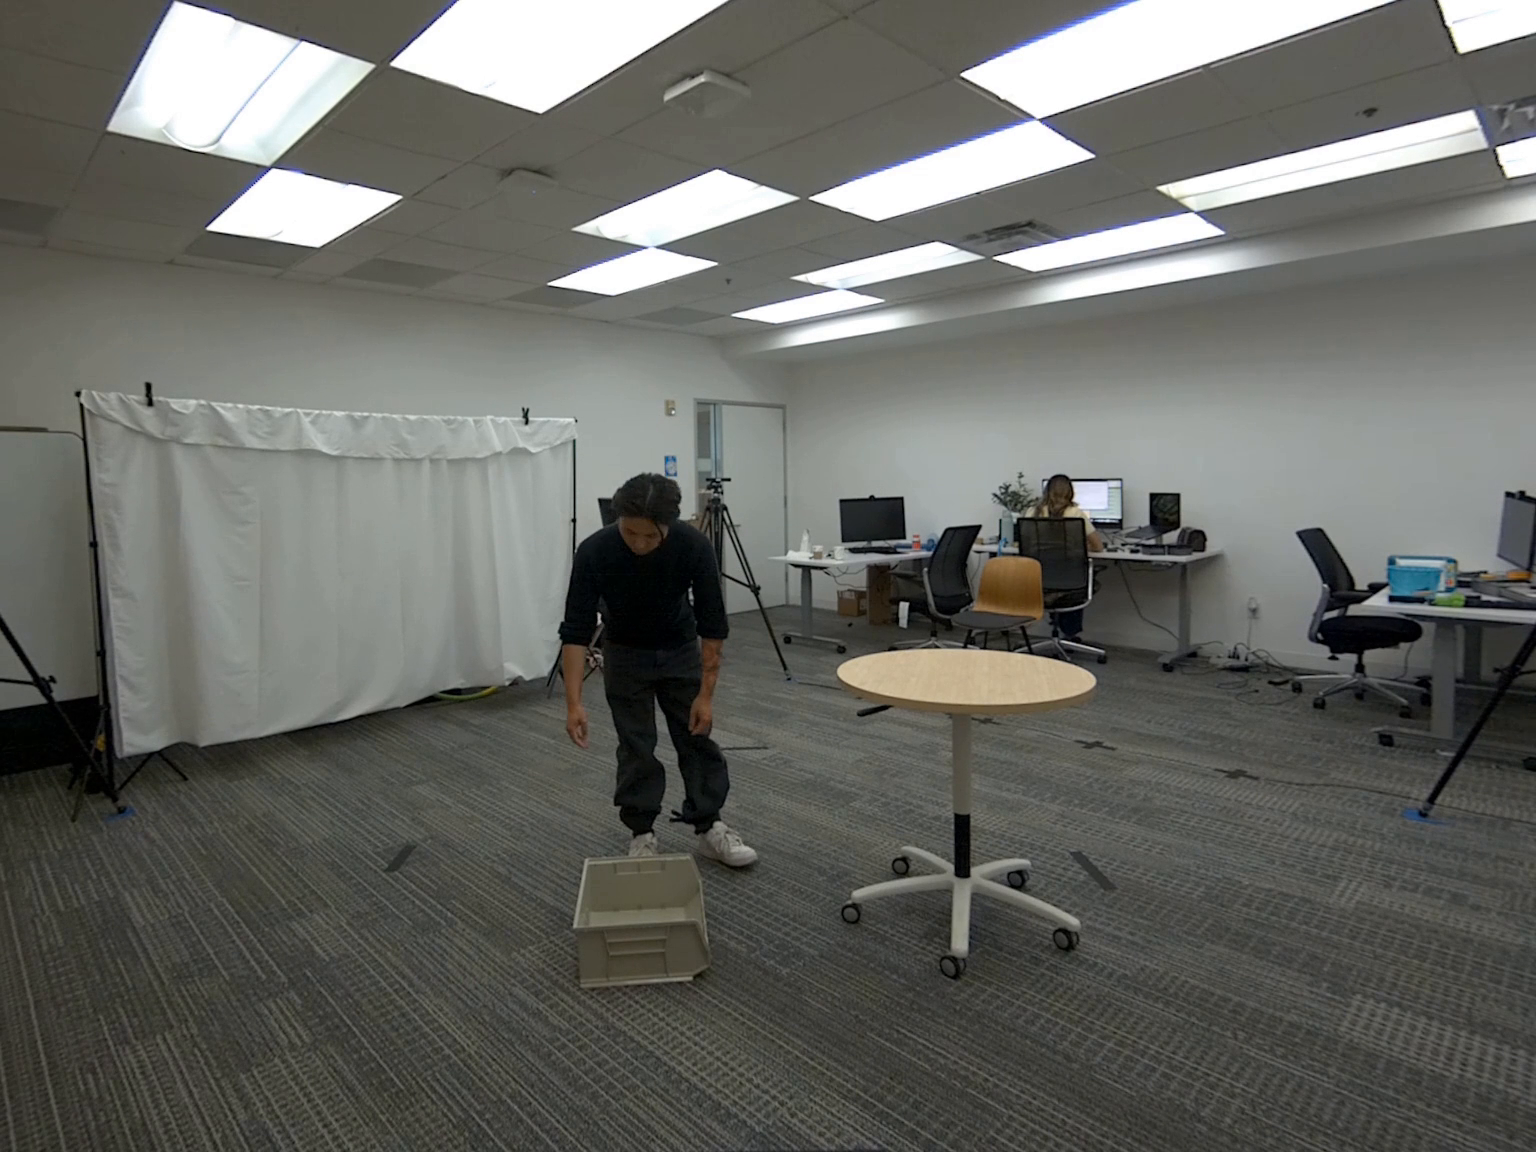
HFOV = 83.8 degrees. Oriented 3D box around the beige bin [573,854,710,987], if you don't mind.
[{"bbox_3d":[-0.376,1.028,2.572,0.375,0.188,0.427,-2,7,-6],"label":"beige bin"}]
